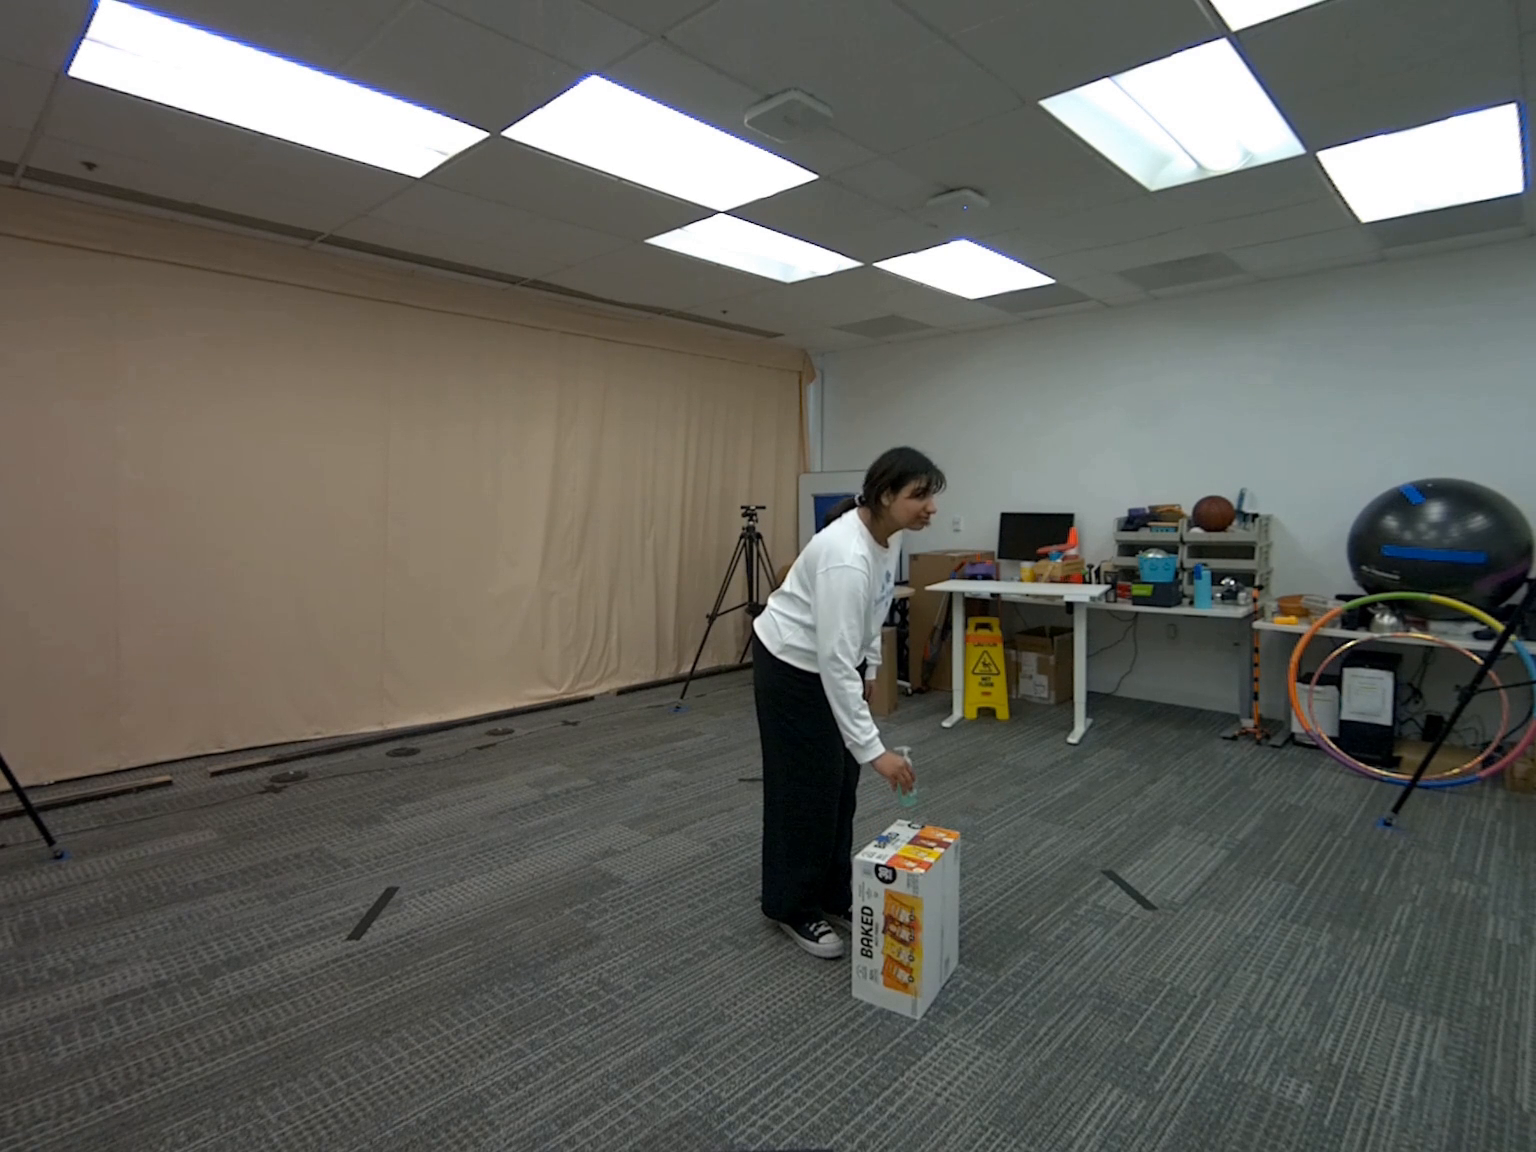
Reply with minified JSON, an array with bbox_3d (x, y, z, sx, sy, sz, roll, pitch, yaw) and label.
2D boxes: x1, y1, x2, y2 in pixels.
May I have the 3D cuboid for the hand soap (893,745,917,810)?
[{"bbox_3d":[0.405,0.584,2.451,0.045,0.168,0.082,1,5,33],"label":"hand soap"}]
